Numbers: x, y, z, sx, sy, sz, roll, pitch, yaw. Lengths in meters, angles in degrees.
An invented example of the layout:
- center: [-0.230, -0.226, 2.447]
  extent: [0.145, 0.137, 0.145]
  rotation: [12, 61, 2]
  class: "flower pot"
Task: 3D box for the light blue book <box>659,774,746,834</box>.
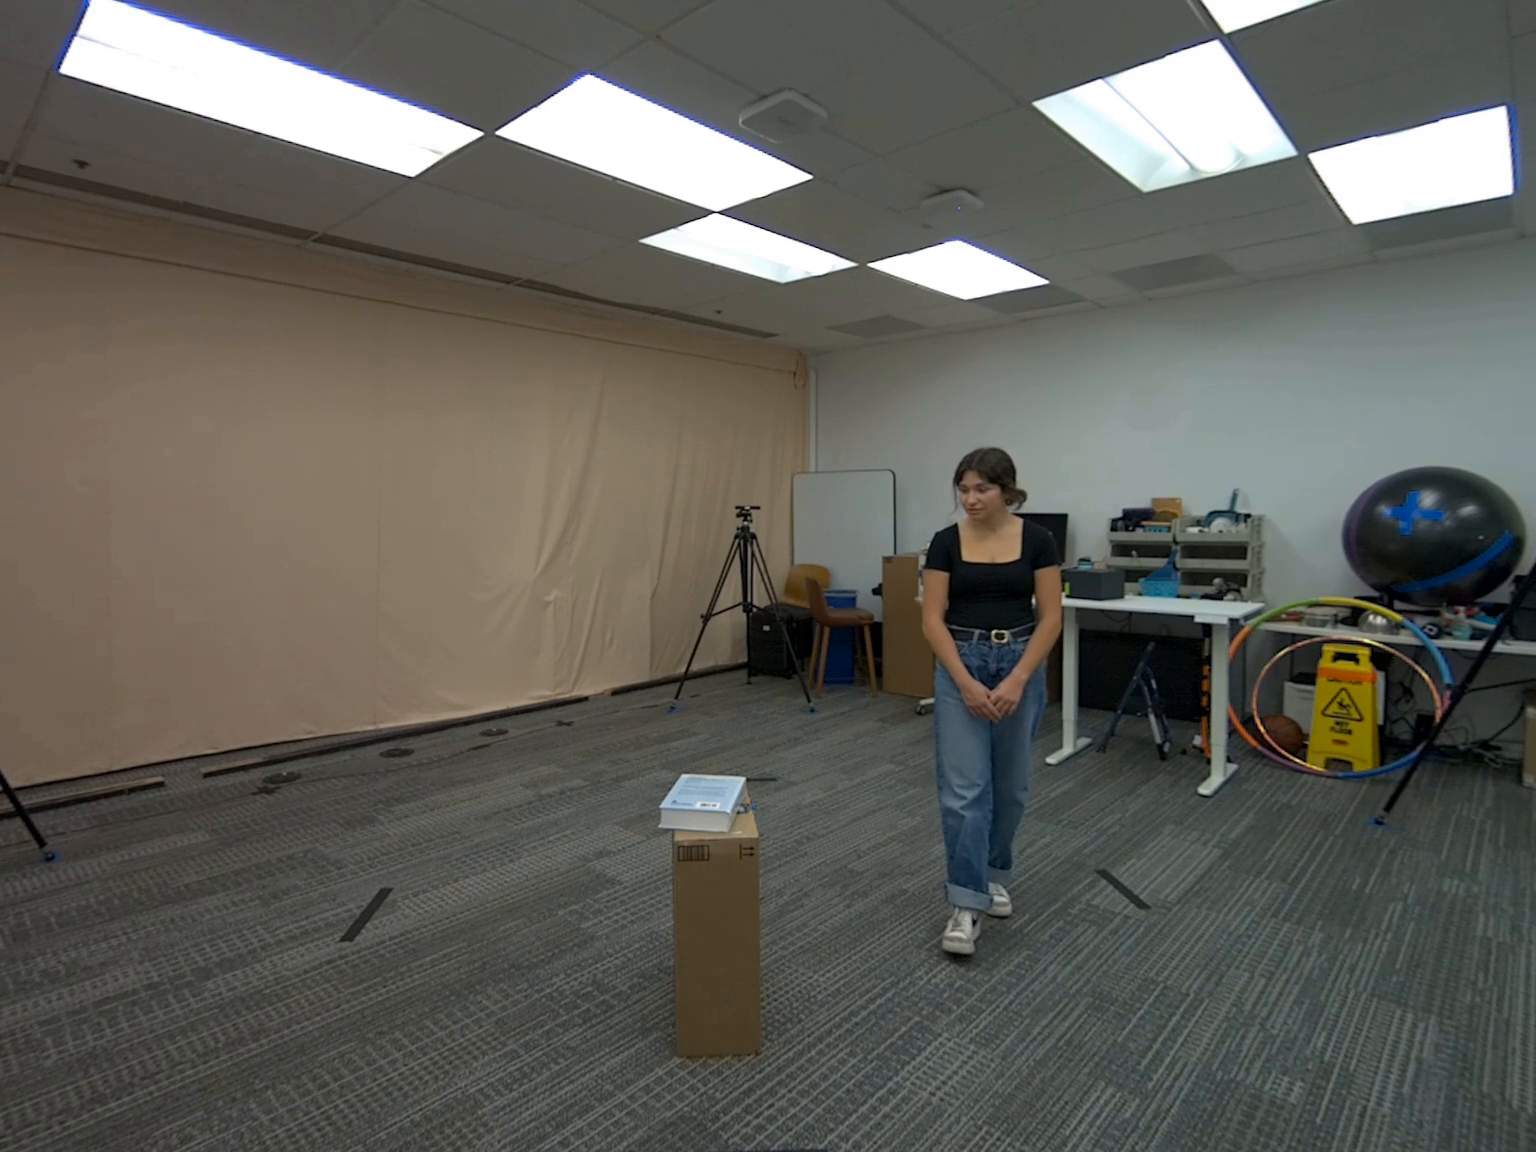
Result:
- center: [-0.165, 0.619, 2.277]
  extent: [0.193, 0.059, 0.259]
  rotation: [0, 5, 9]
  class: "light blue book"
